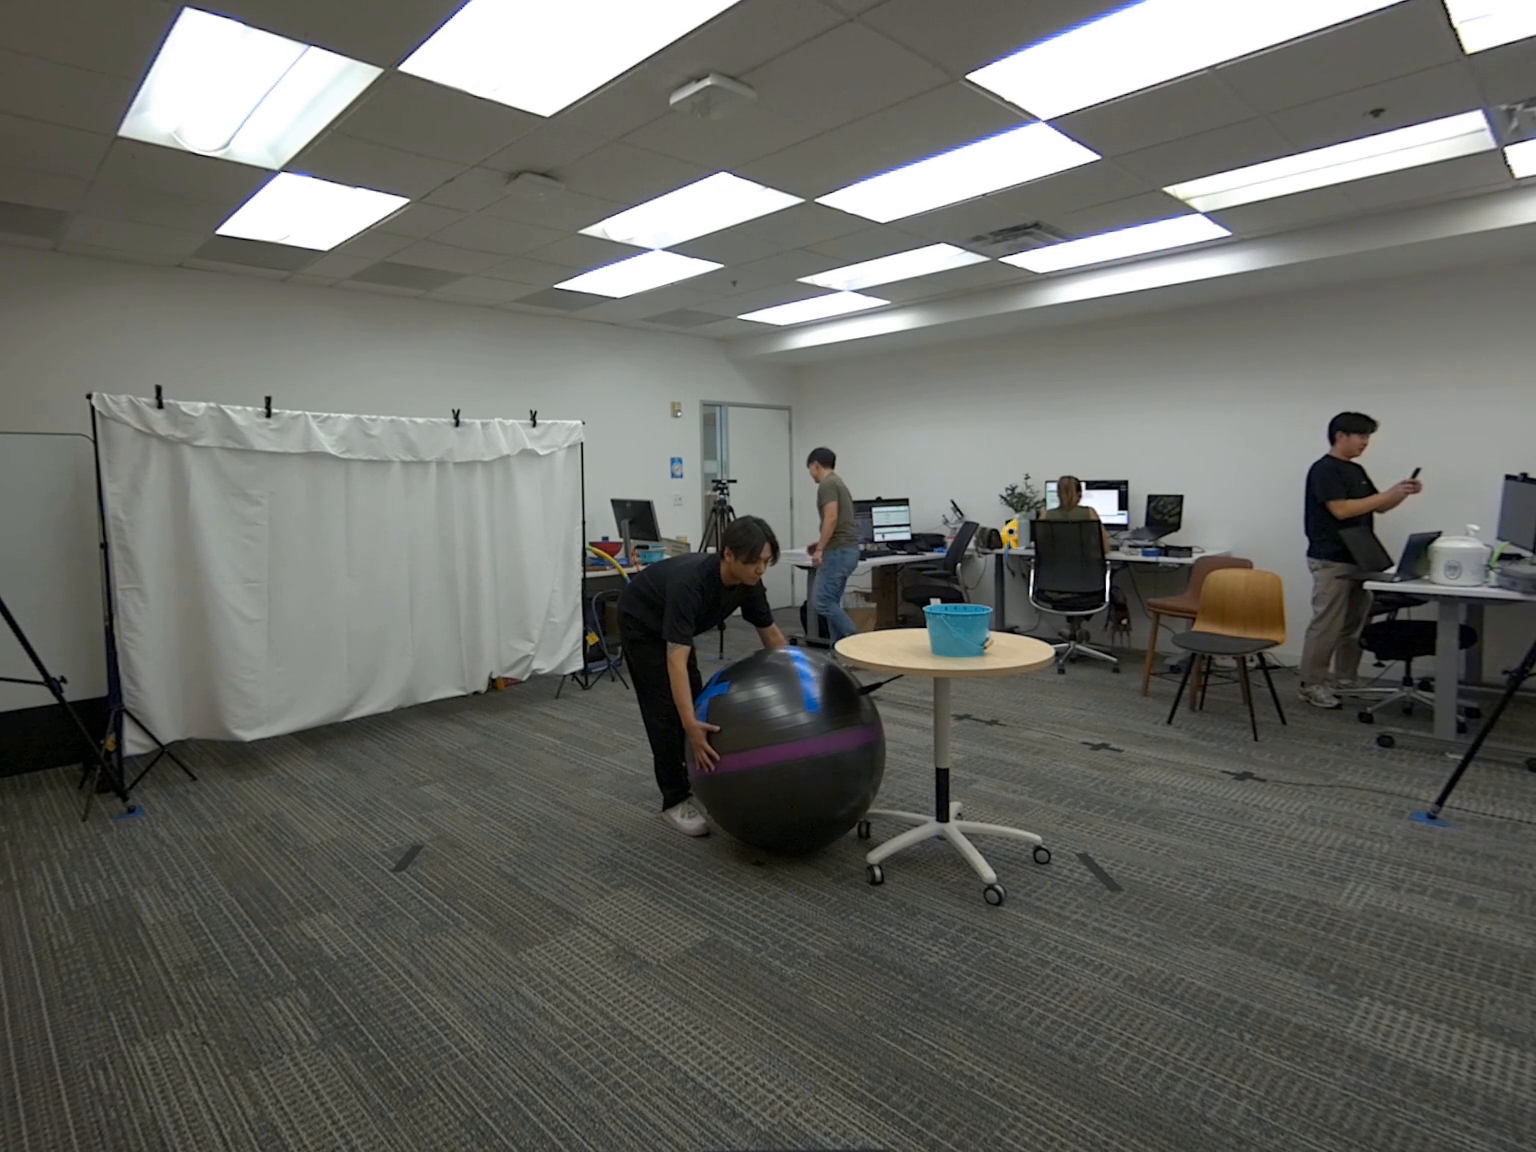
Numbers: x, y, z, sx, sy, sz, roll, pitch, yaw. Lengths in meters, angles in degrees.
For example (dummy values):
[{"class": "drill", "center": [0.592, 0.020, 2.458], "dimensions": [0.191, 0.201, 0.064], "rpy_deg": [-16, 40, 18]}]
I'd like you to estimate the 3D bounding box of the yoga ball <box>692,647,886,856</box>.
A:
[{"class": "yoga ball", "center": [0.063, 0.664, 3.259], "dimensions": [0.757, 0.755, 0.762], "rpy_deg": [-1, 5, -2]}]
